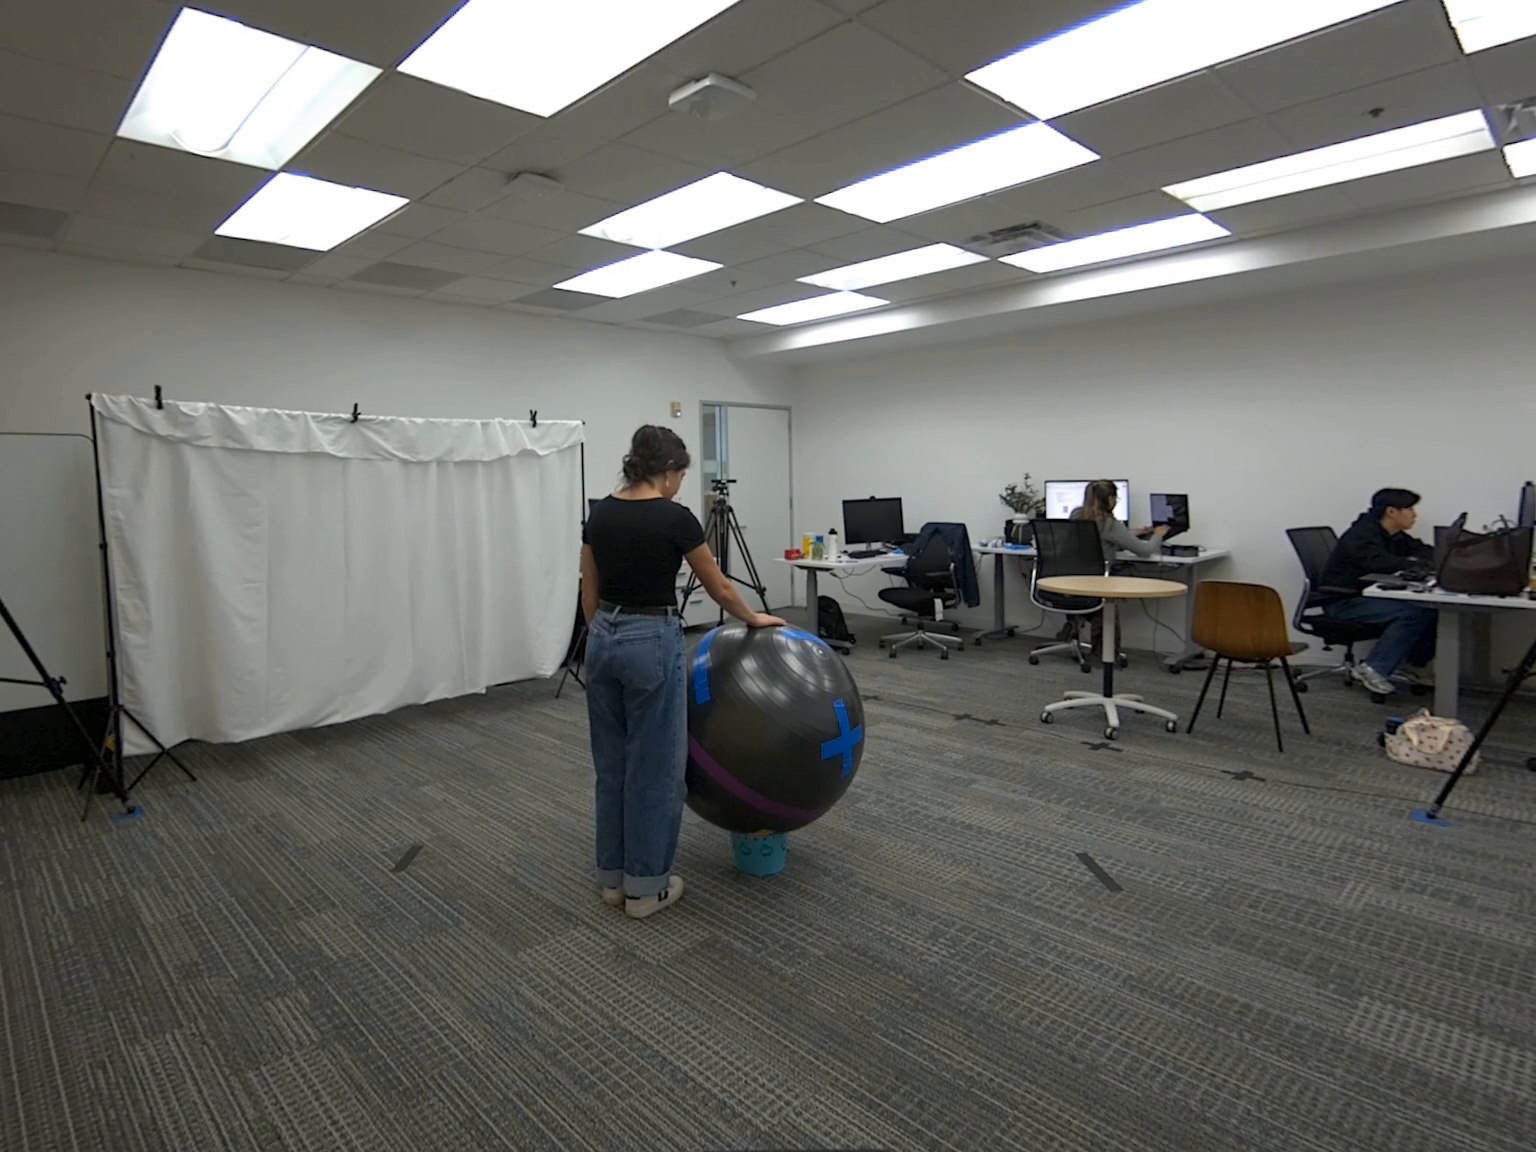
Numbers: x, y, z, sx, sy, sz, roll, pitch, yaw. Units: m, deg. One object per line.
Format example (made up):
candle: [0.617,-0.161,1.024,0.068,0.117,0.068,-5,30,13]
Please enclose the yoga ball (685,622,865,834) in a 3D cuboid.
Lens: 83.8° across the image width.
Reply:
yoga ball: [-0.029,0.538,3.083,0.757,0.755,0.762,-1,5,-2]
